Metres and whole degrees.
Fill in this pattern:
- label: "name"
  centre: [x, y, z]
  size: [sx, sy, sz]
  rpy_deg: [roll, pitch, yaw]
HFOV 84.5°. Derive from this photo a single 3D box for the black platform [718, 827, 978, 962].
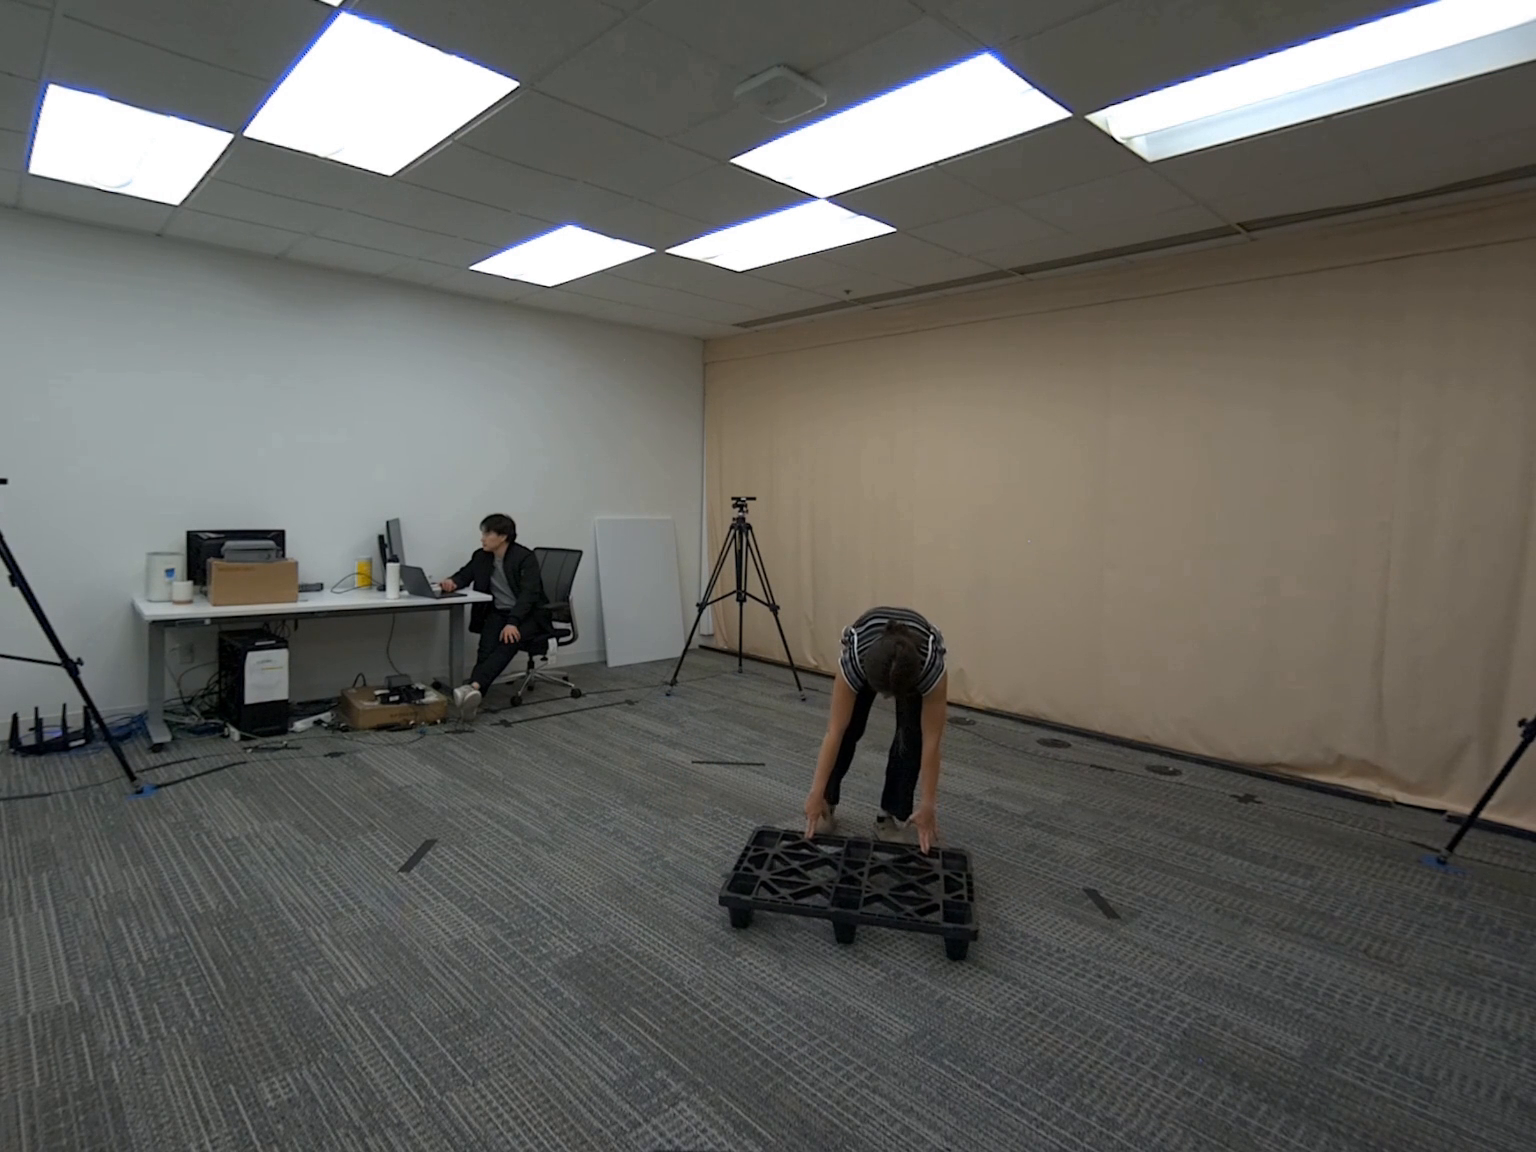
- label: "black platform"
  centre: [0.278, 1.067, 2.863]
  size: [0.814, 0.143, 0.601]
  rpy_deg: [2, 6, 13]
